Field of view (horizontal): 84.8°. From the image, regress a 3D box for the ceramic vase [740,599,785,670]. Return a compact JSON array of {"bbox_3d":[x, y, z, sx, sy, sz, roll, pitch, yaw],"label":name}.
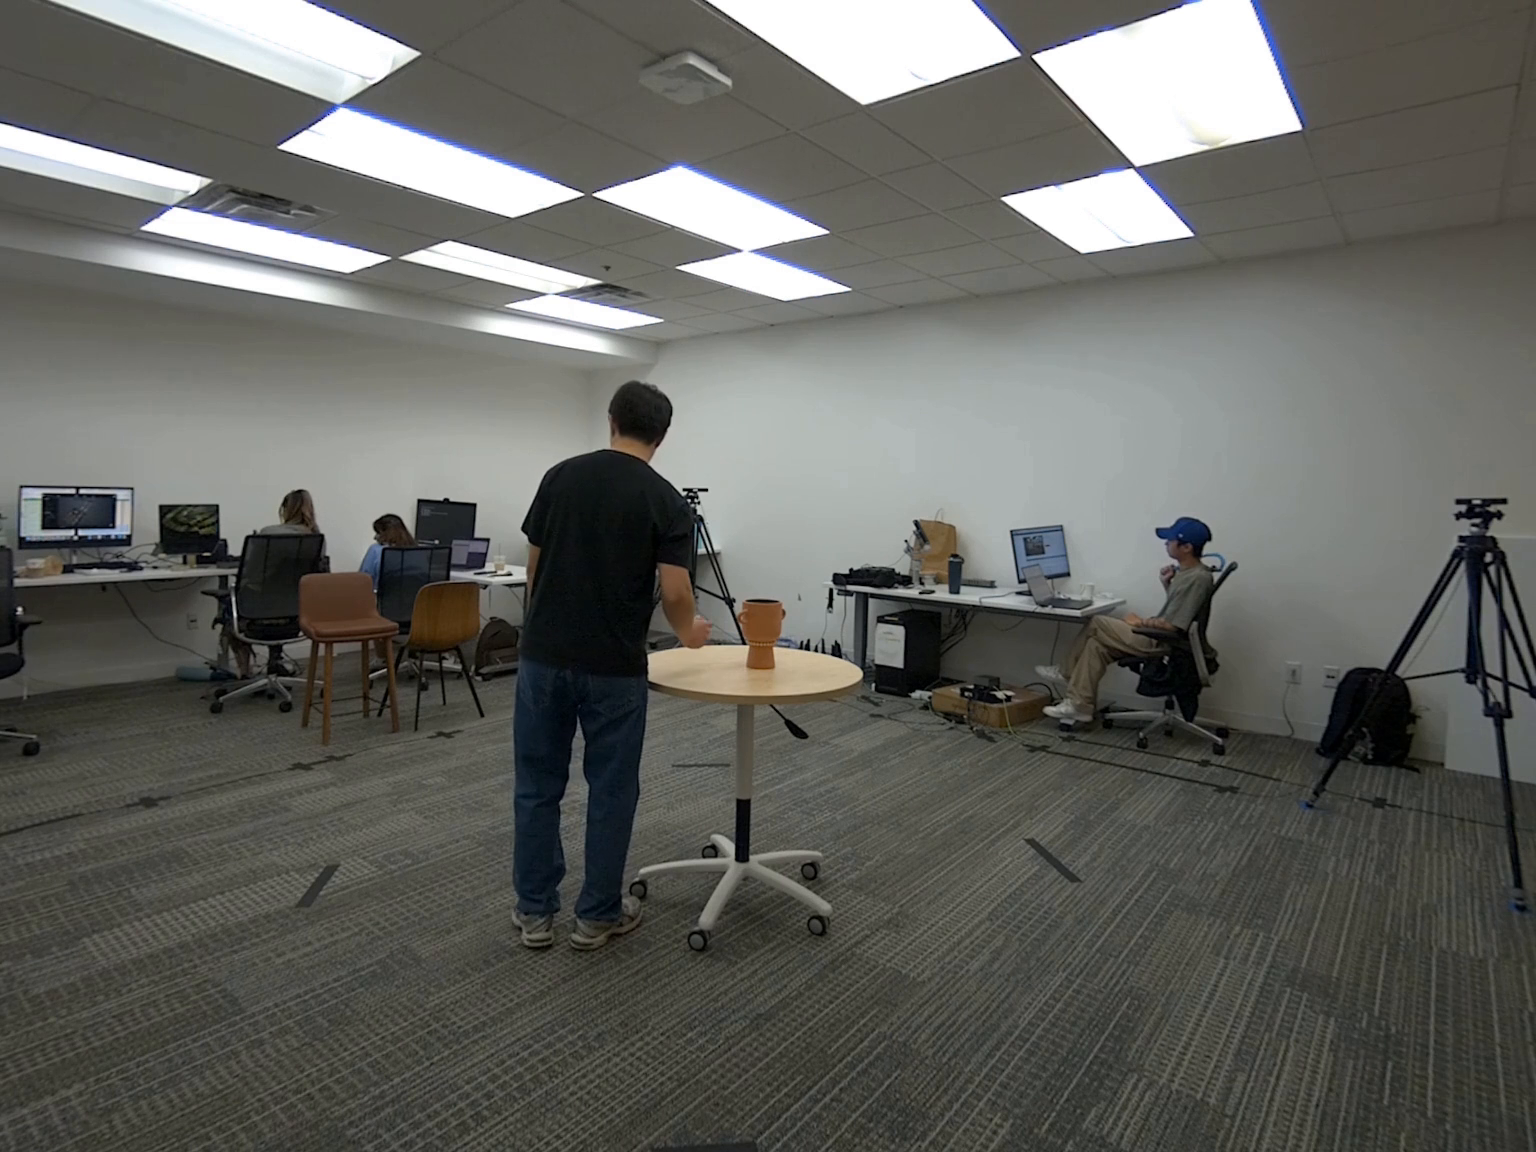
[{"bbox_3d":[-0.031,0.193,2.854,0.160,0.219,0.134,2,3,4],"label":"ceramic vase"}]
